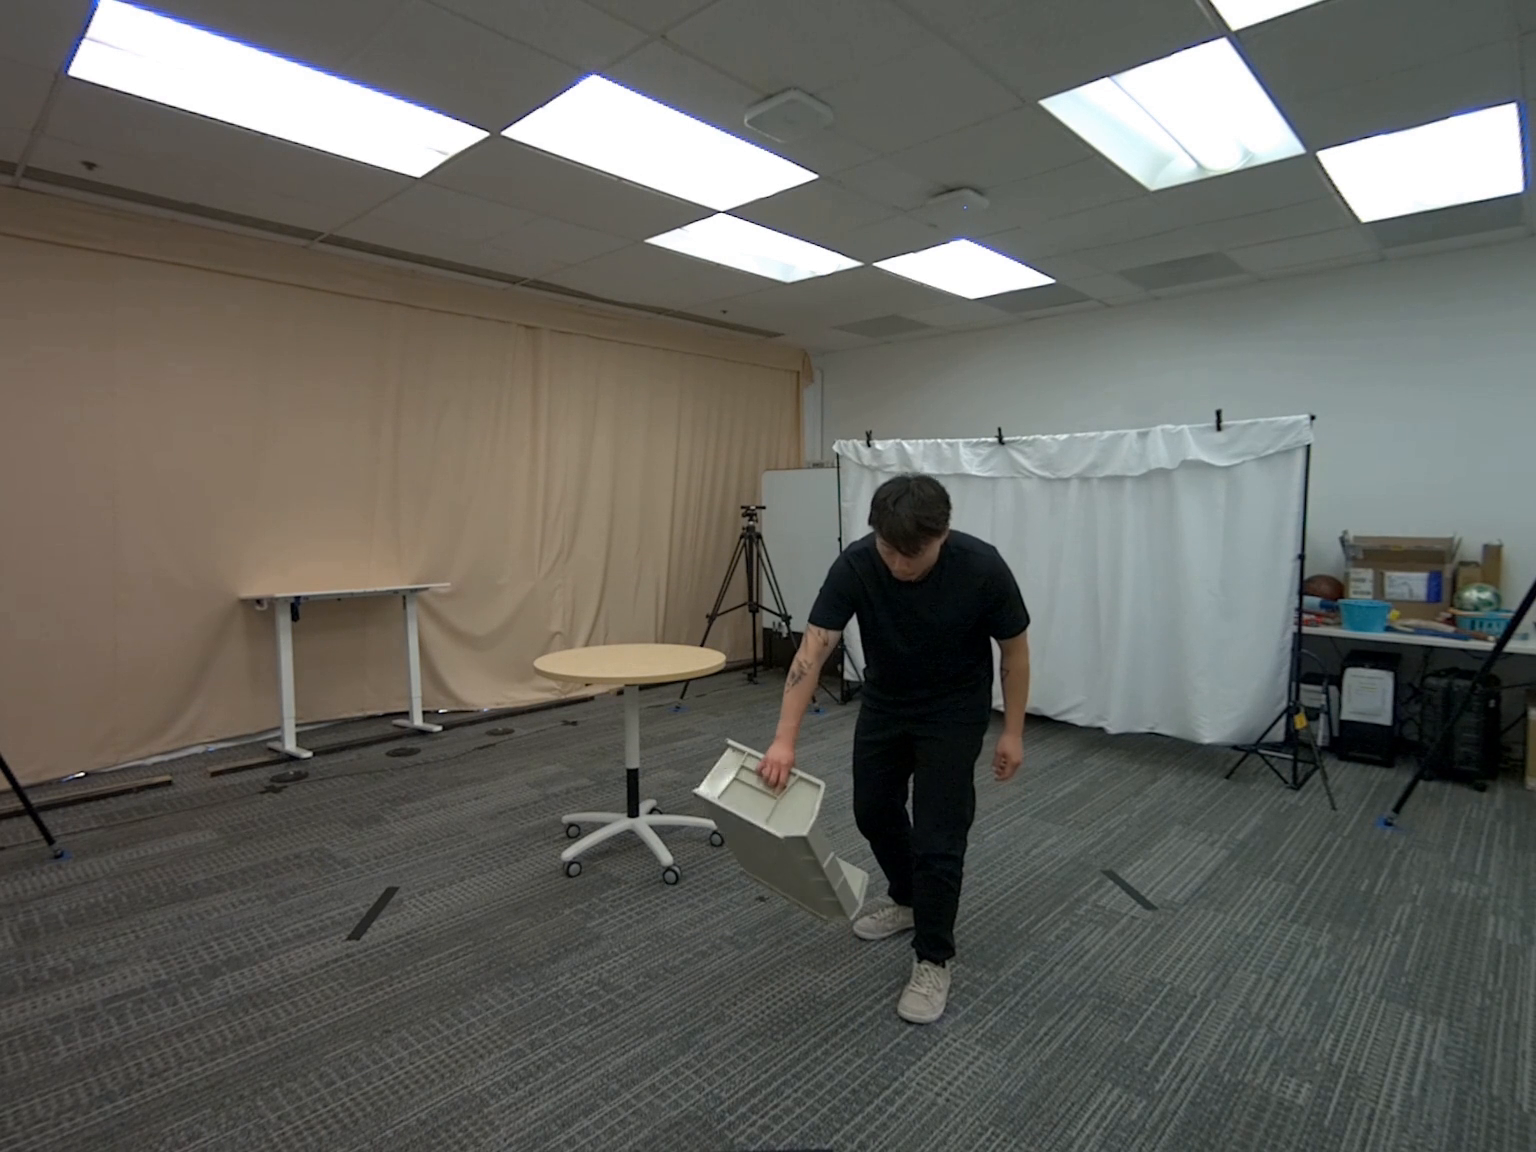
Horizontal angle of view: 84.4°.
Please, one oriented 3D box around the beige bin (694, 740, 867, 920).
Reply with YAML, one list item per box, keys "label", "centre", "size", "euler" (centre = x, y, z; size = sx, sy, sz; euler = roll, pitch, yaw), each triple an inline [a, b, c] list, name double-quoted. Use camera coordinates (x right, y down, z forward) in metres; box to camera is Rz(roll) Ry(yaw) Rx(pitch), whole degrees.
- label: "beige bin"
  centre: [0.055, 0.702, 2.269]
  size: [0.391, 0.410, 0.188]
  euler: [14, 50, 41]
